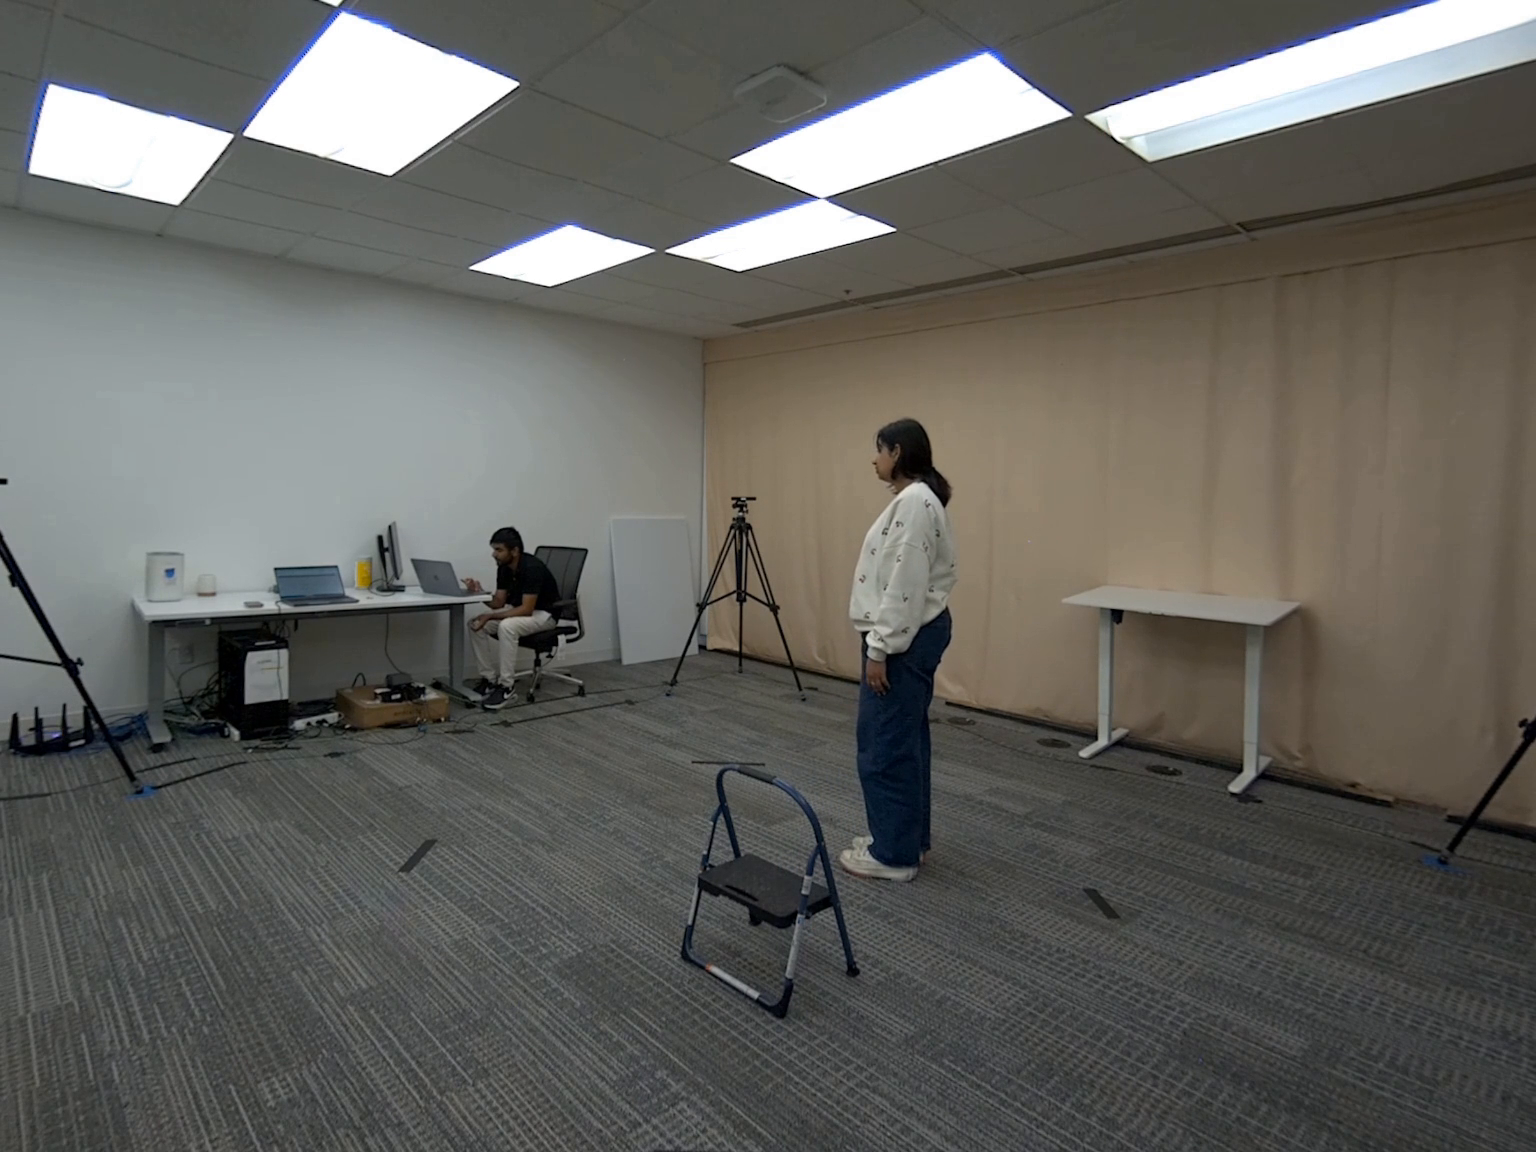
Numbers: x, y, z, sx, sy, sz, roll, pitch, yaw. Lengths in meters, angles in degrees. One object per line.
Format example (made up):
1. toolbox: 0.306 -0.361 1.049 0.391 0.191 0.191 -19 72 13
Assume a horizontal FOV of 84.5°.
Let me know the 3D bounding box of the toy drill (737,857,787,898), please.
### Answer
1. toy drill: -0.026 1.091 3.076 0.145 0.061 0.172 0 7 -10
